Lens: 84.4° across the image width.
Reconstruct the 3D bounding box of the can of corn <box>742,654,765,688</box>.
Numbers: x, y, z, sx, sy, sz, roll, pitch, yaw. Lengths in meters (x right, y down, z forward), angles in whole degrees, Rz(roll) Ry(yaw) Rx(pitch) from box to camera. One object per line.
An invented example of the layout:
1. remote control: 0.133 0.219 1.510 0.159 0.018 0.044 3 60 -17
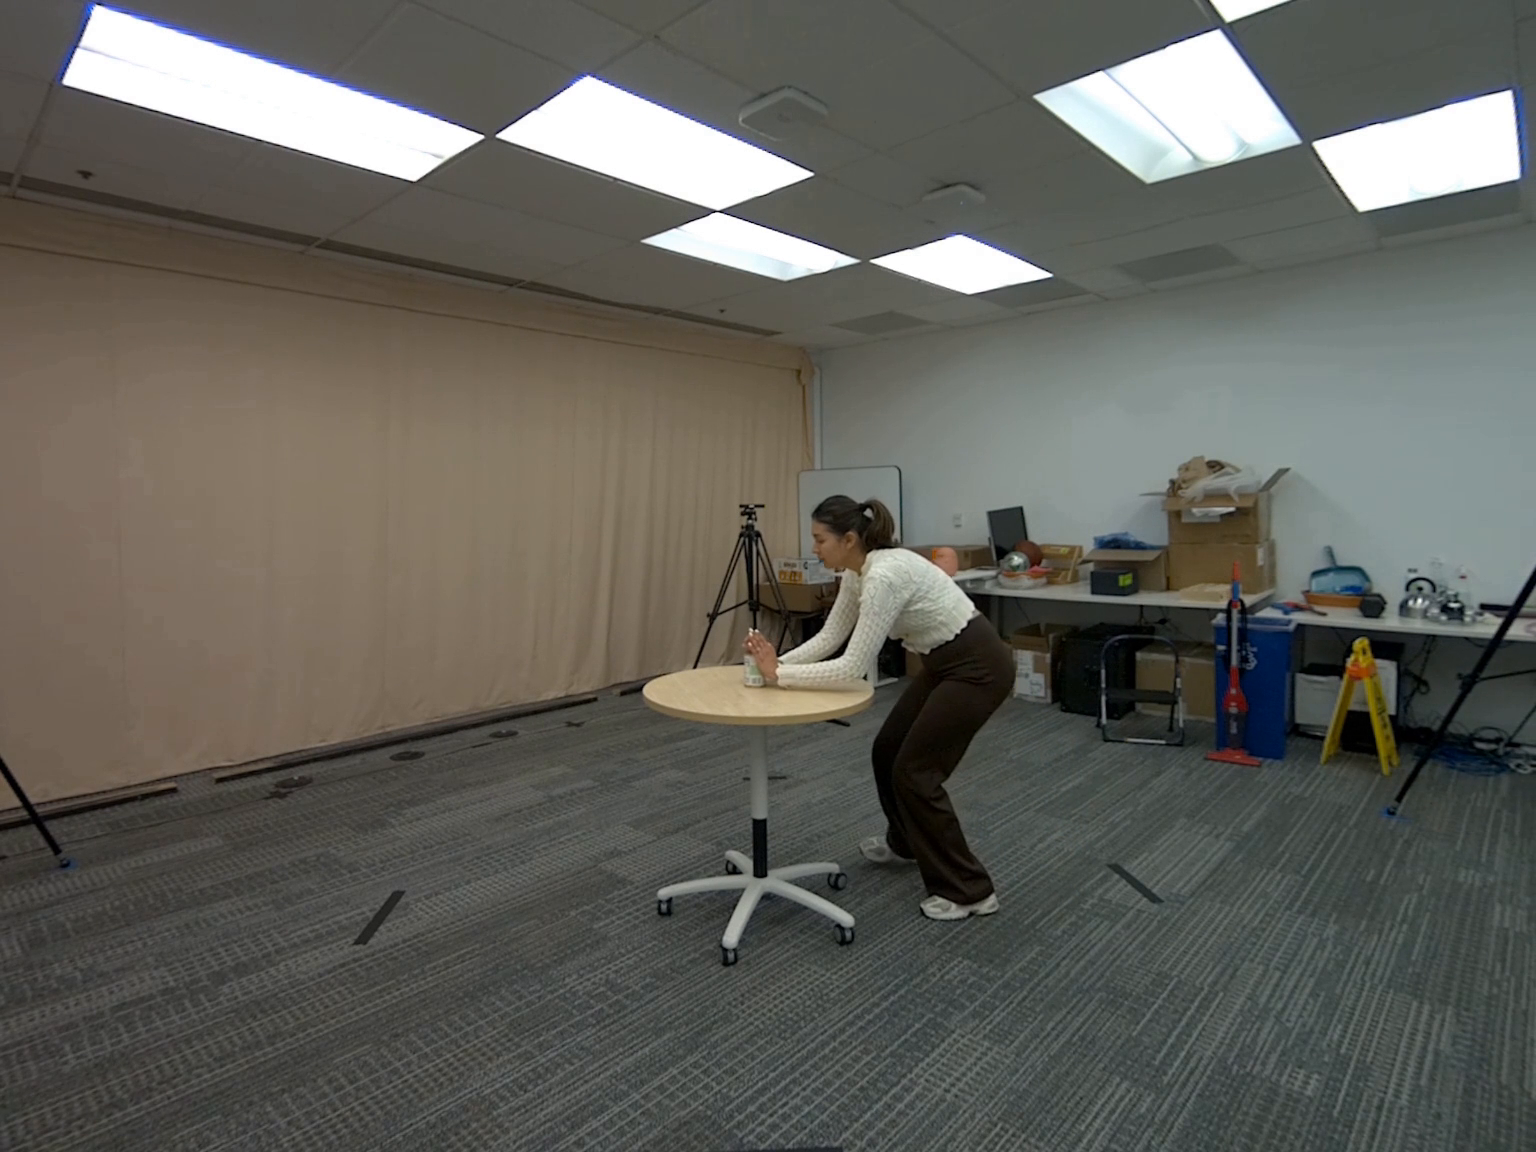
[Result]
1. can of corn: -0.038 0.317 2.830 0.074 0.111 0.074 -2 1 -2
